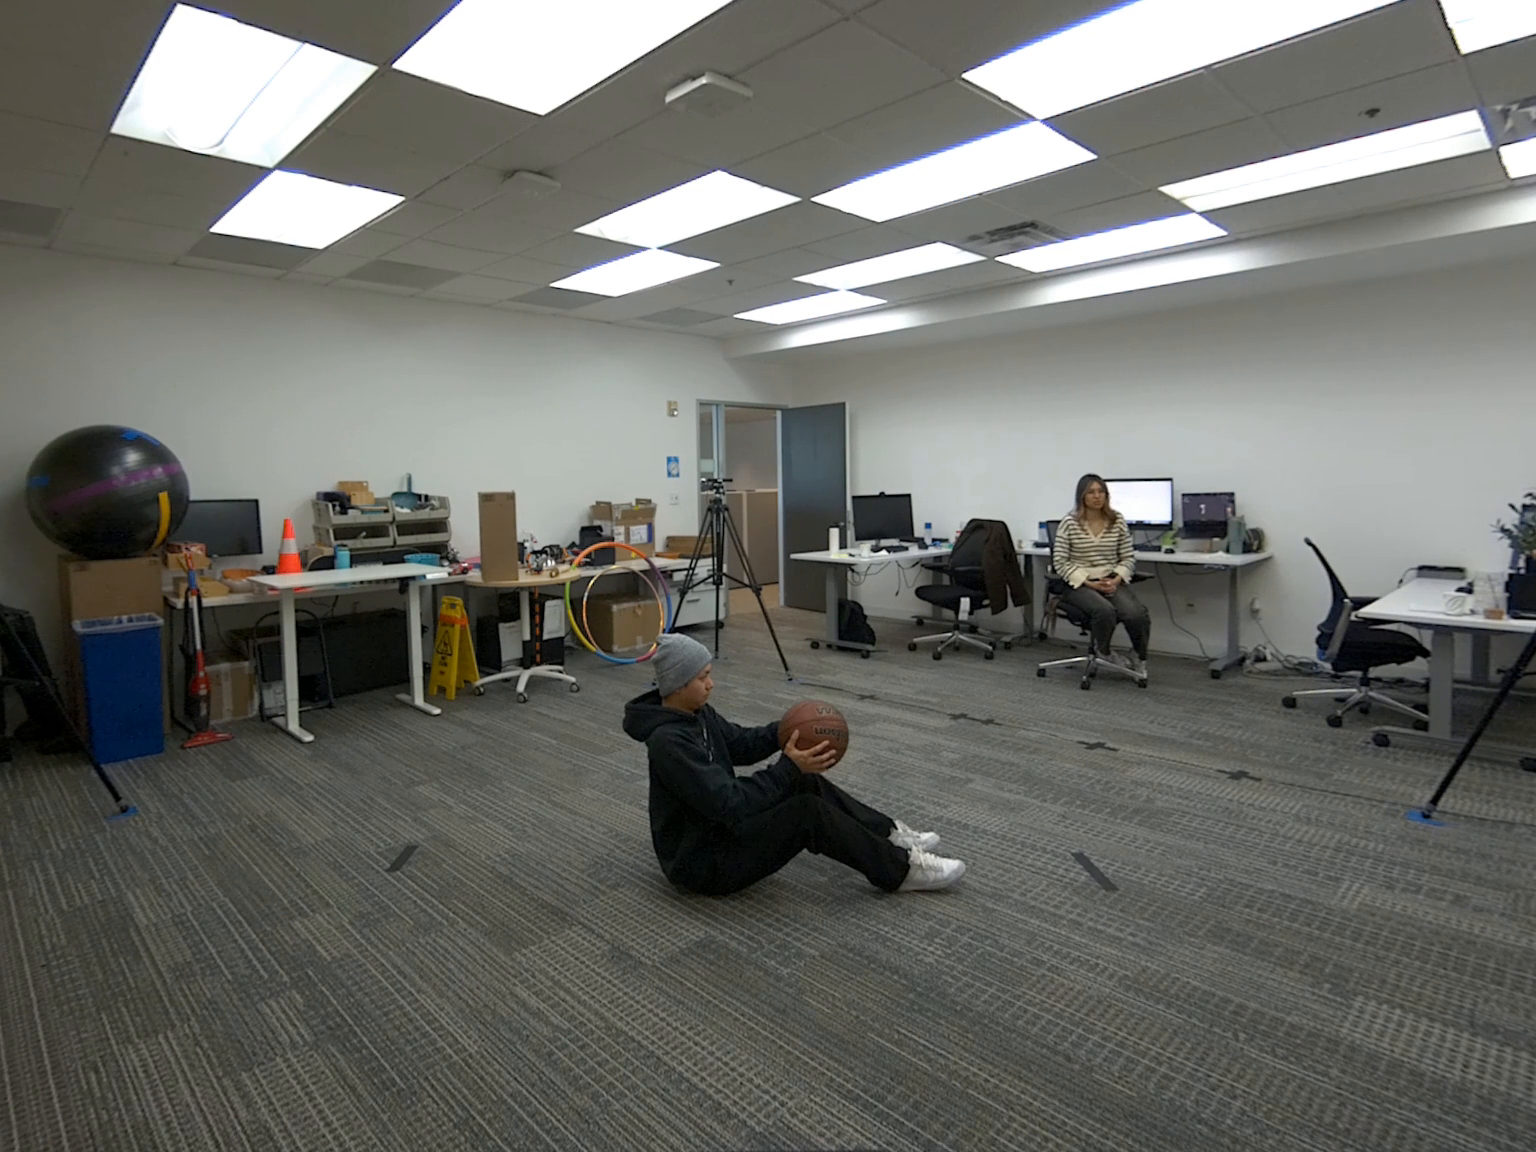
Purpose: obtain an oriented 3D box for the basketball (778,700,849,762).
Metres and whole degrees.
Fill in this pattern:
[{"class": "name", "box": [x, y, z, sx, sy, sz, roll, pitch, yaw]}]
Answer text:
[{"class": "basketball", "box": [0.150, 0.536, 2.864, 0.236, 0.235, 0.237, -1, 5, -2]}]
